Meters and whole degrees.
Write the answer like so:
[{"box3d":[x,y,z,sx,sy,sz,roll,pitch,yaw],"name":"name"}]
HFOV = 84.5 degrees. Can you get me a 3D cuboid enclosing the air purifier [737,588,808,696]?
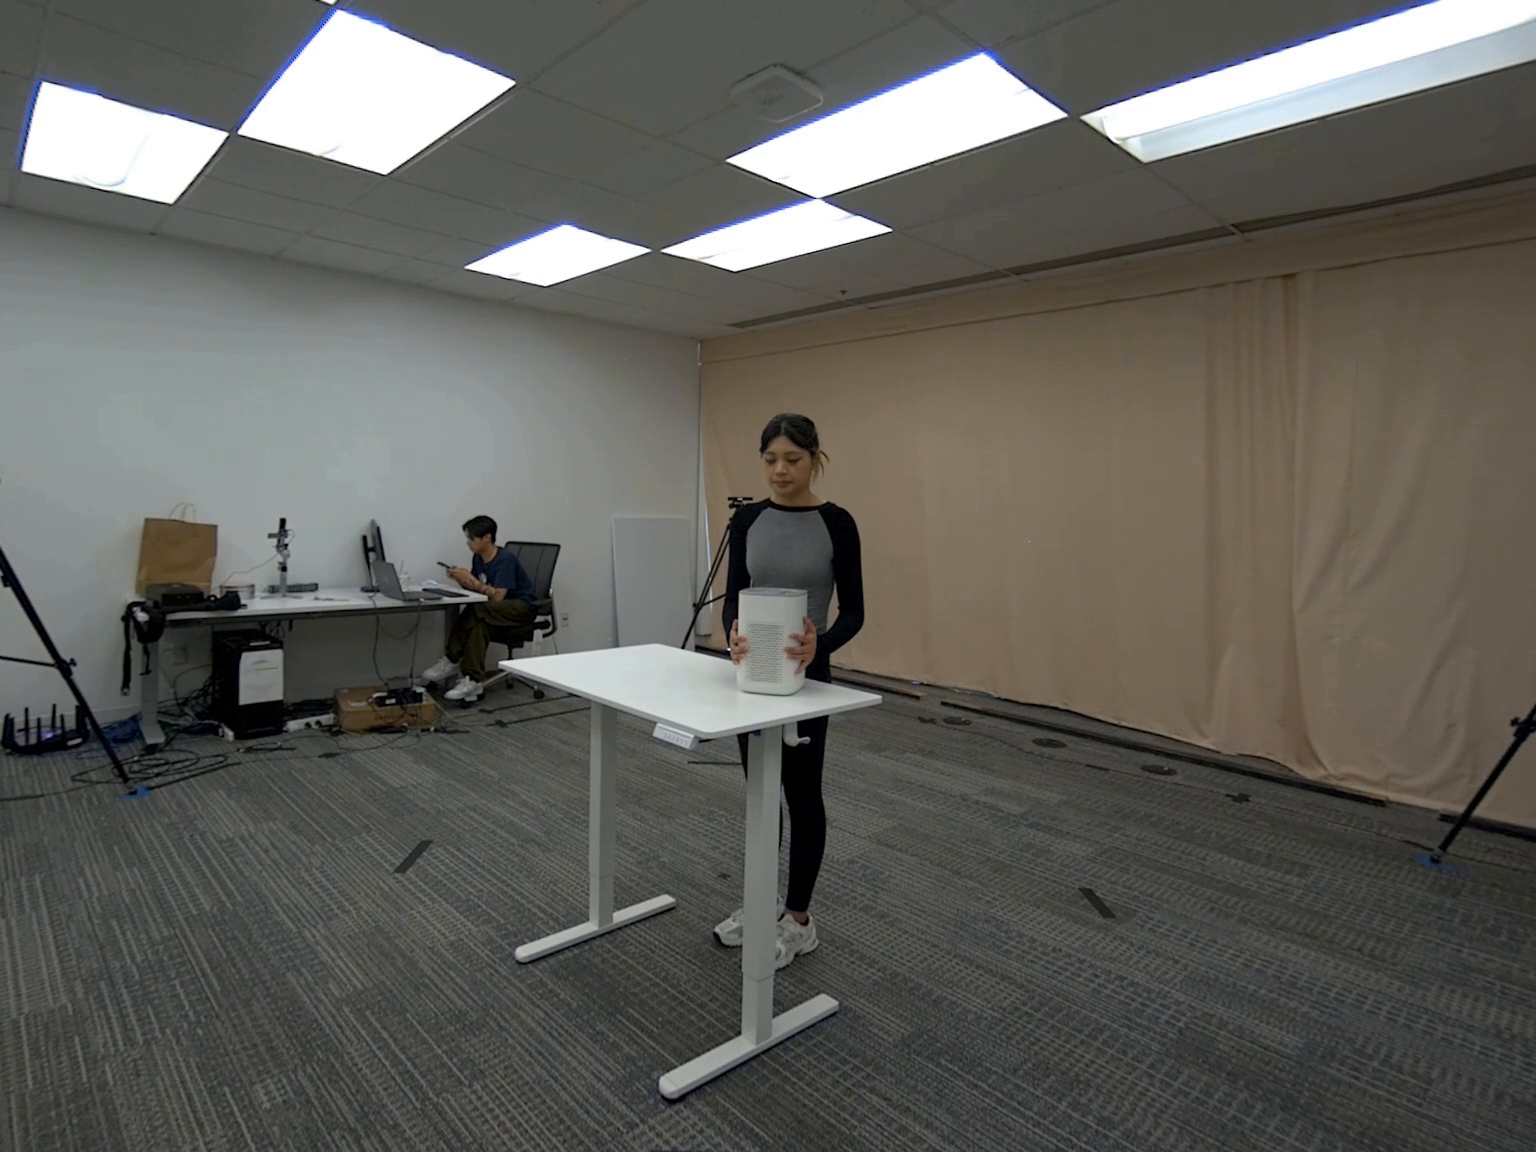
[{"box3d":[-0.004,0.178,2.238,0.174,0.265,0.169,2,2,14],"name":"air purifier"}]
